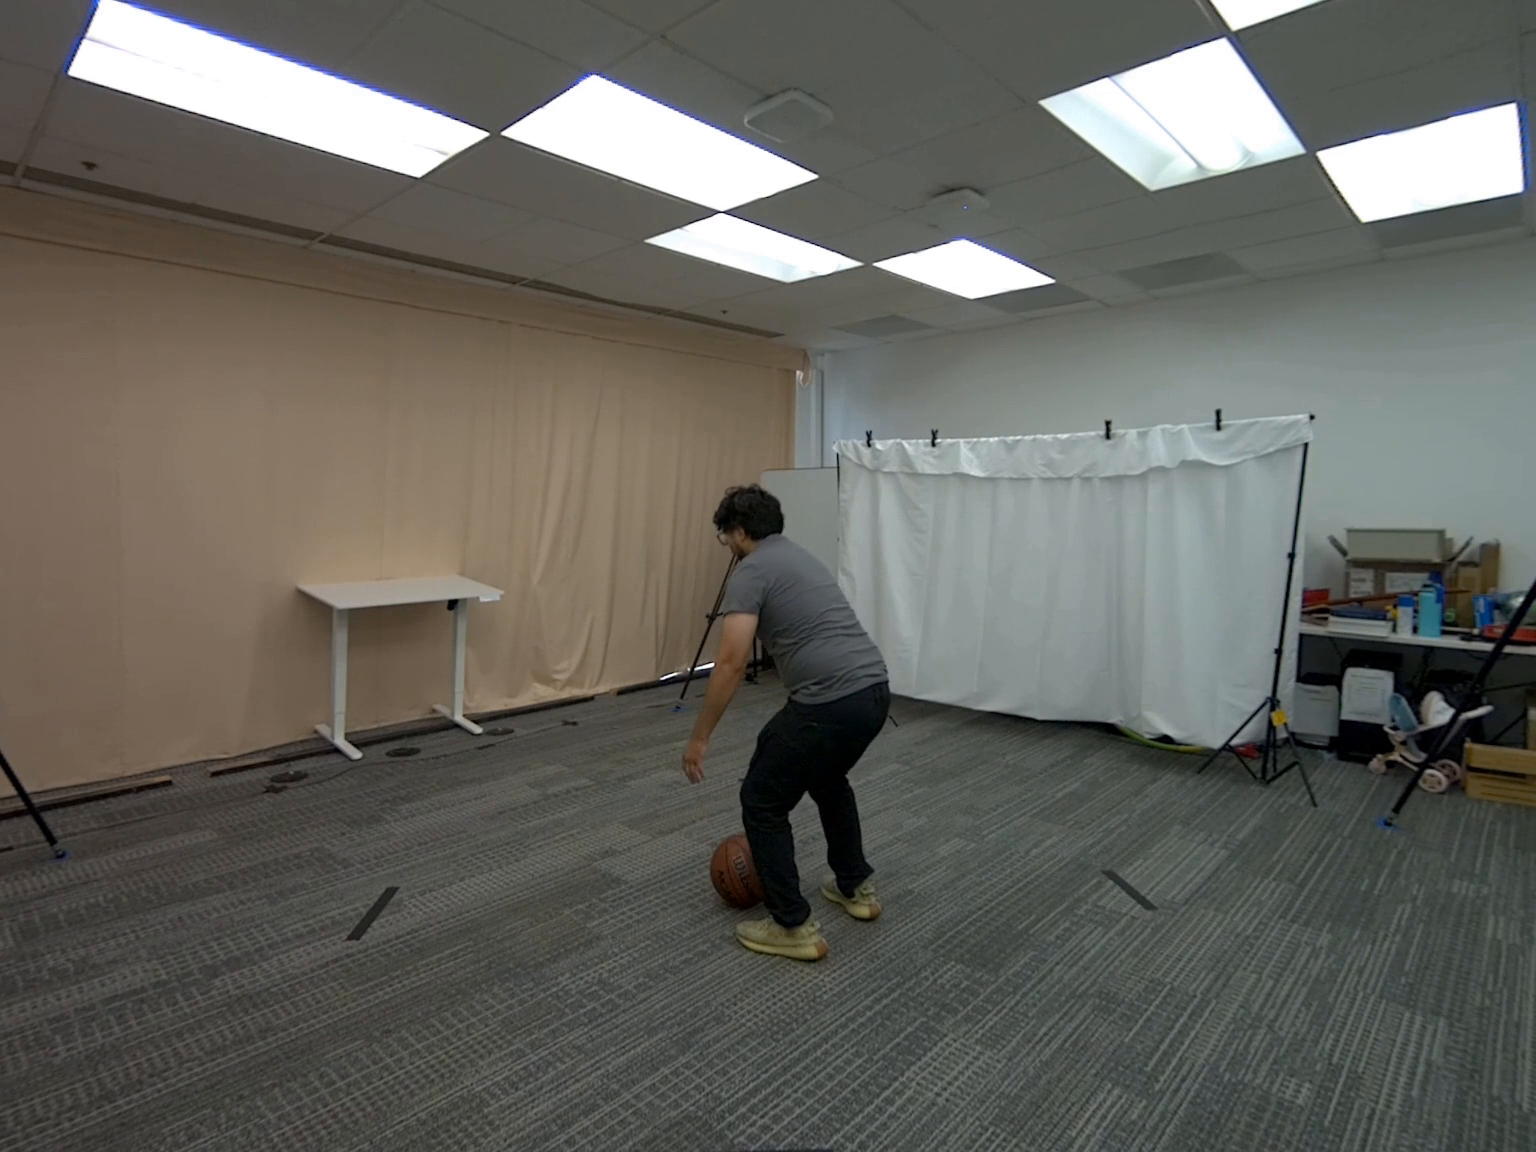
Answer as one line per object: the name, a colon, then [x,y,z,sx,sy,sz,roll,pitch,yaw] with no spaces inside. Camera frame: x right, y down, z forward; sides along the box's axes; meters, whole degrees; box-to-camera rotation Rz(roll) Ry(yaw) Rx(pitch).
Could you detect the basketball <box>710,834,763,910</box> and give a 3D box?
basketball: [-0.085,1.028,2.952,0.236,0.235,0.237,0,4,-2]
